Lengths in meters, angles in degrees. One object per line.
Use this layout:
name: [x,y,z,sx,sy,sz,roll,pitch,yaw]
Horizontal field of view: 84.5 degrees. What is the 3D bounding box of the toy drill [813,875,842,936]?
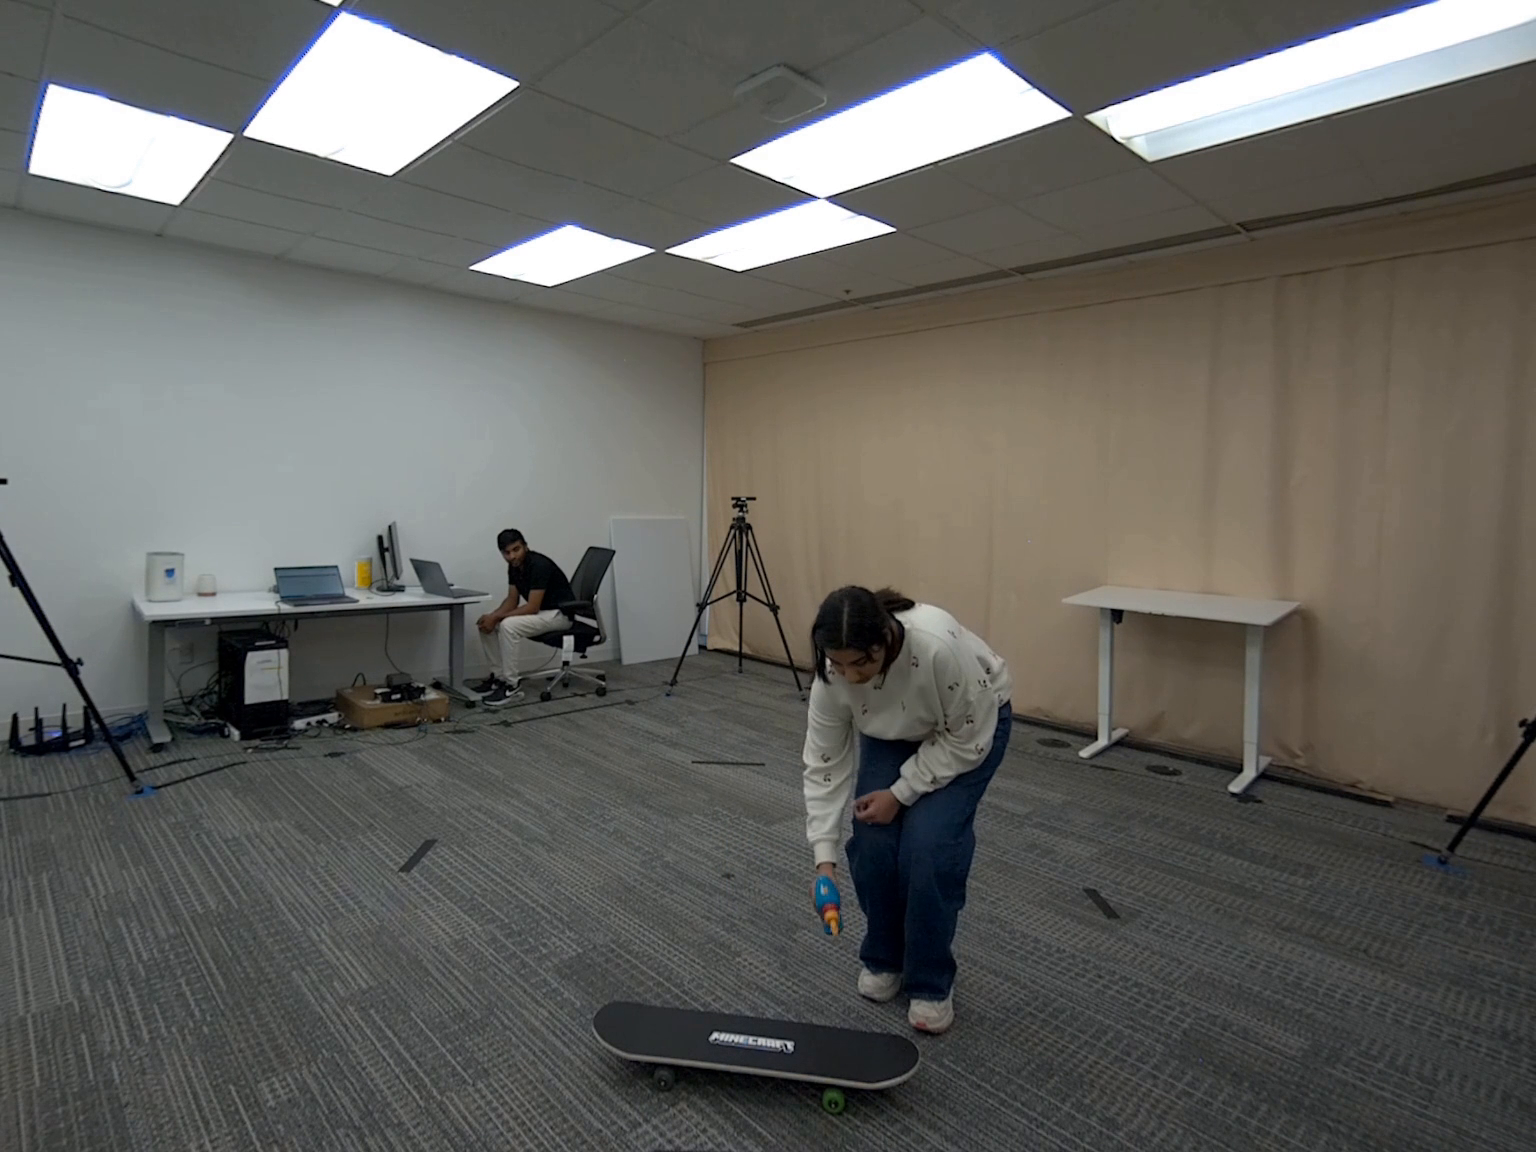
toy drill: [0.176,0.801,2.064,0.144,0.061,0.174,15,22,-17]
